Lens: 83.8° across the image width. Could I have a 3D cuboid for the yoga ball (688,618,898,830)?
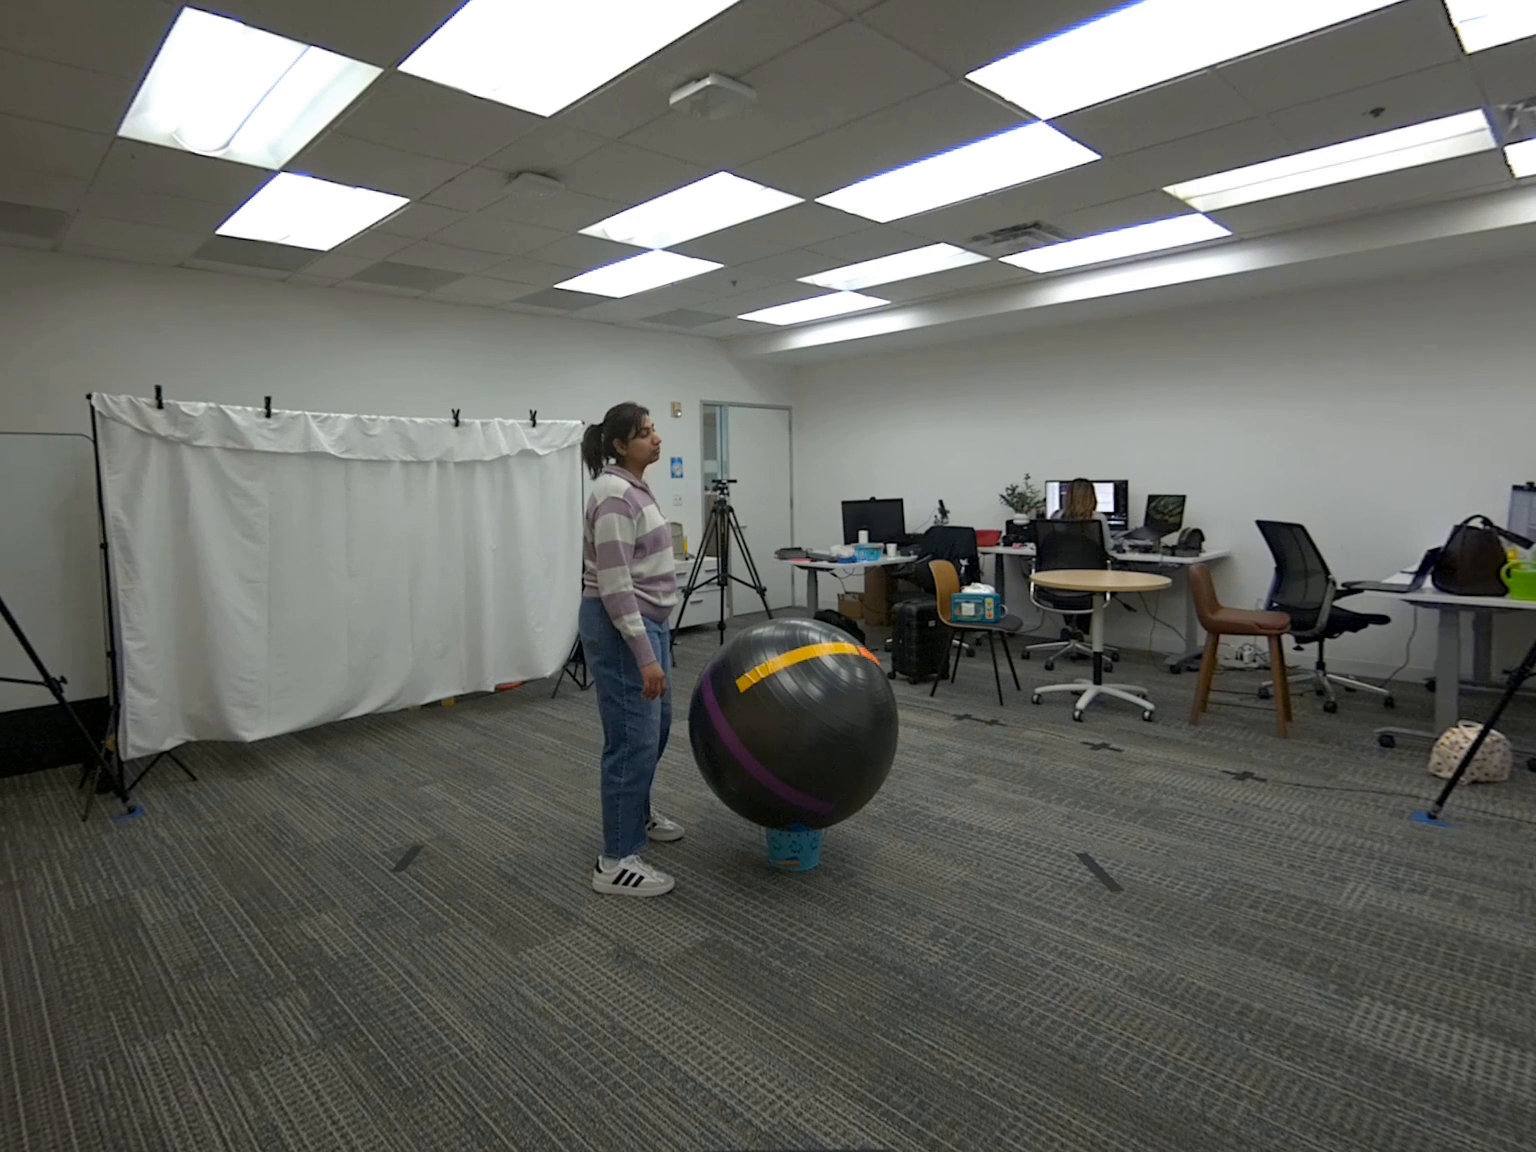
[{"bbox_3d":[0.087,0.526,3.110,0.757,0.755,0.762,-1,5,-2],"label":"yoga ball"}]
